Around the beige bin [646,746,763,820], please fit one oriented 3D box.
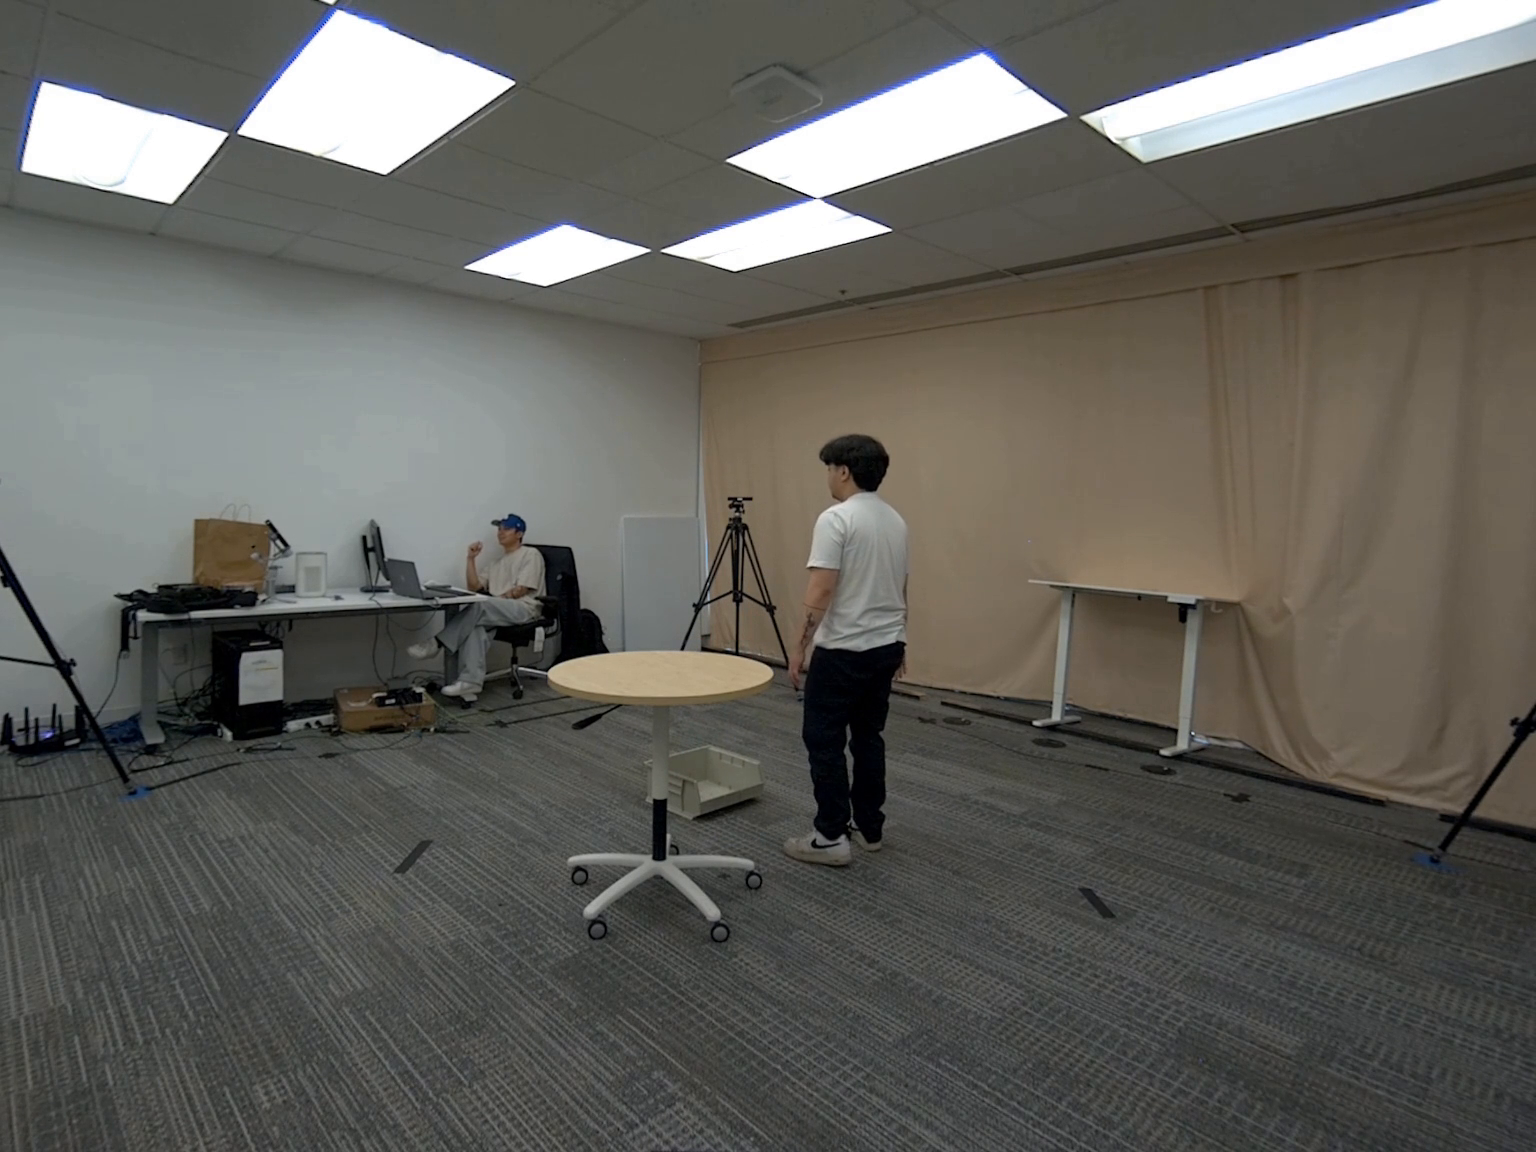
[{"bbox_3d":[-0.304,0.952,3.888,0.387,0.188,0.413,5,6,43],"label":"beige bin"}]
